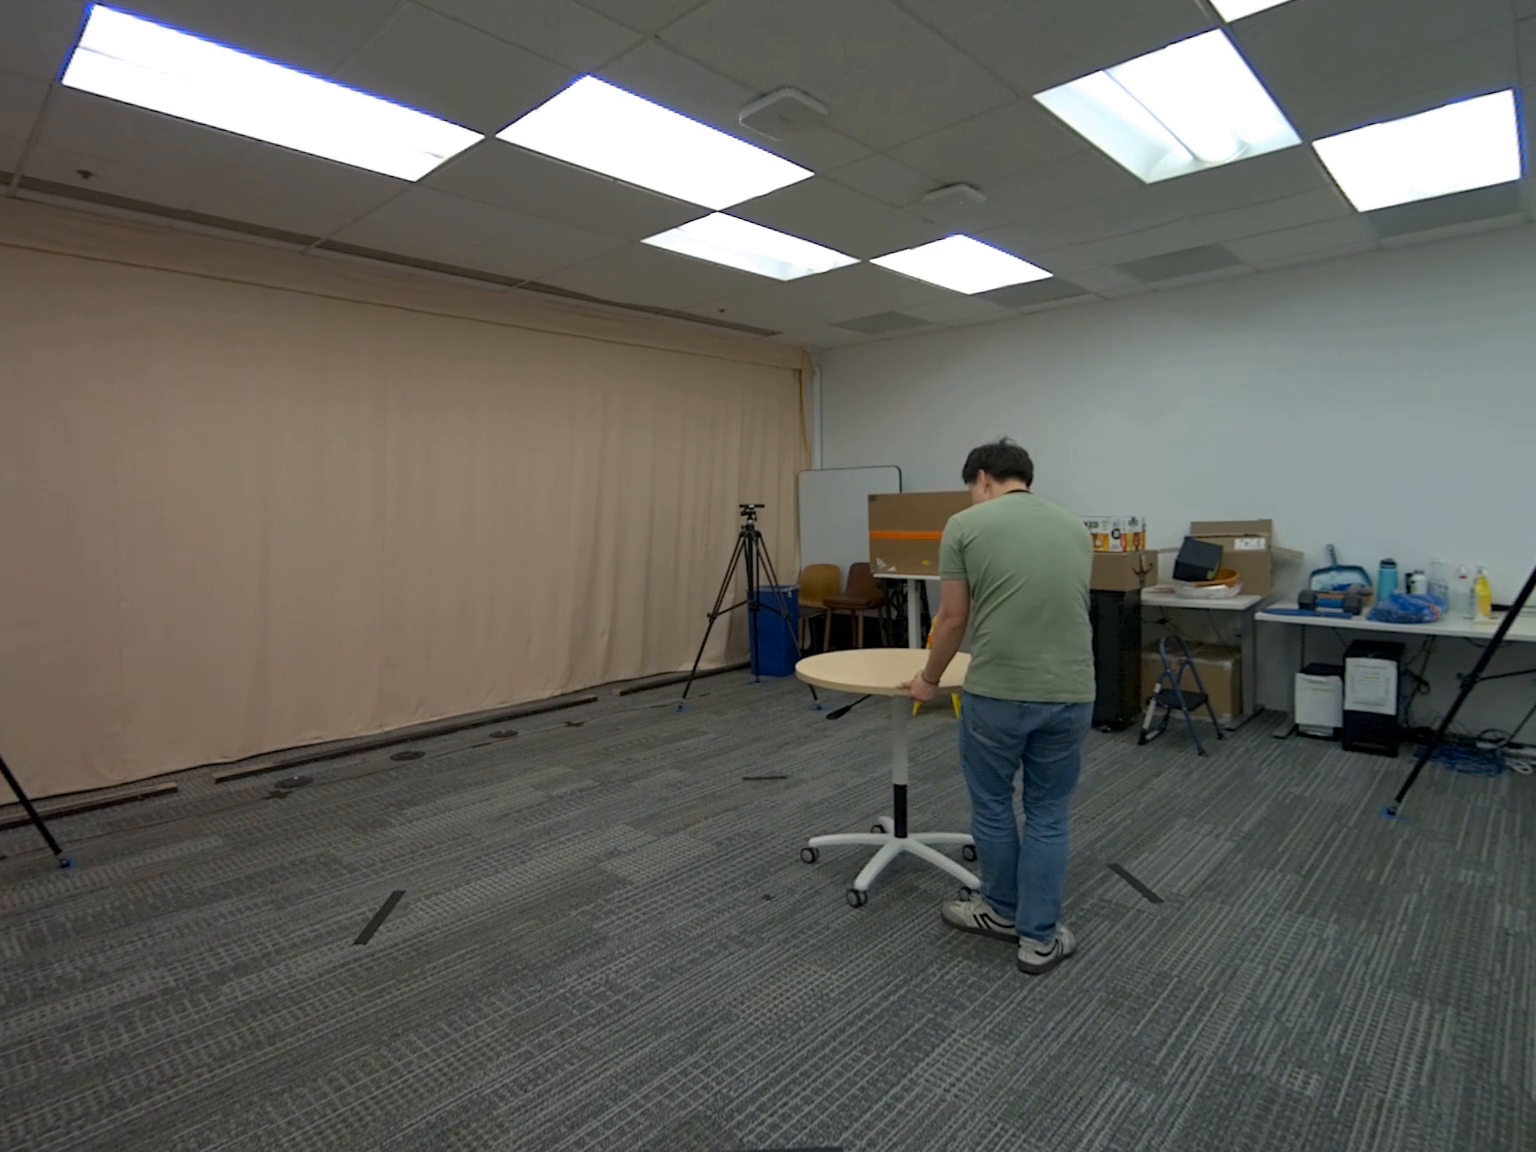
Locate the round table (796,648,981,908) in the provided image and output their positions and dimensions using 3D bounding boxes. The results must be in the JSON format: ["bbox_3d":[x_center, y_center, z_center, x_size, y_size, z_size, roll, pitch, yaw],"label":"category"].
[{"bbox_3d":[0.493,0.726,3.148,0.763,0.792,0.766,-1,4,-2],"label":"round table"}]
